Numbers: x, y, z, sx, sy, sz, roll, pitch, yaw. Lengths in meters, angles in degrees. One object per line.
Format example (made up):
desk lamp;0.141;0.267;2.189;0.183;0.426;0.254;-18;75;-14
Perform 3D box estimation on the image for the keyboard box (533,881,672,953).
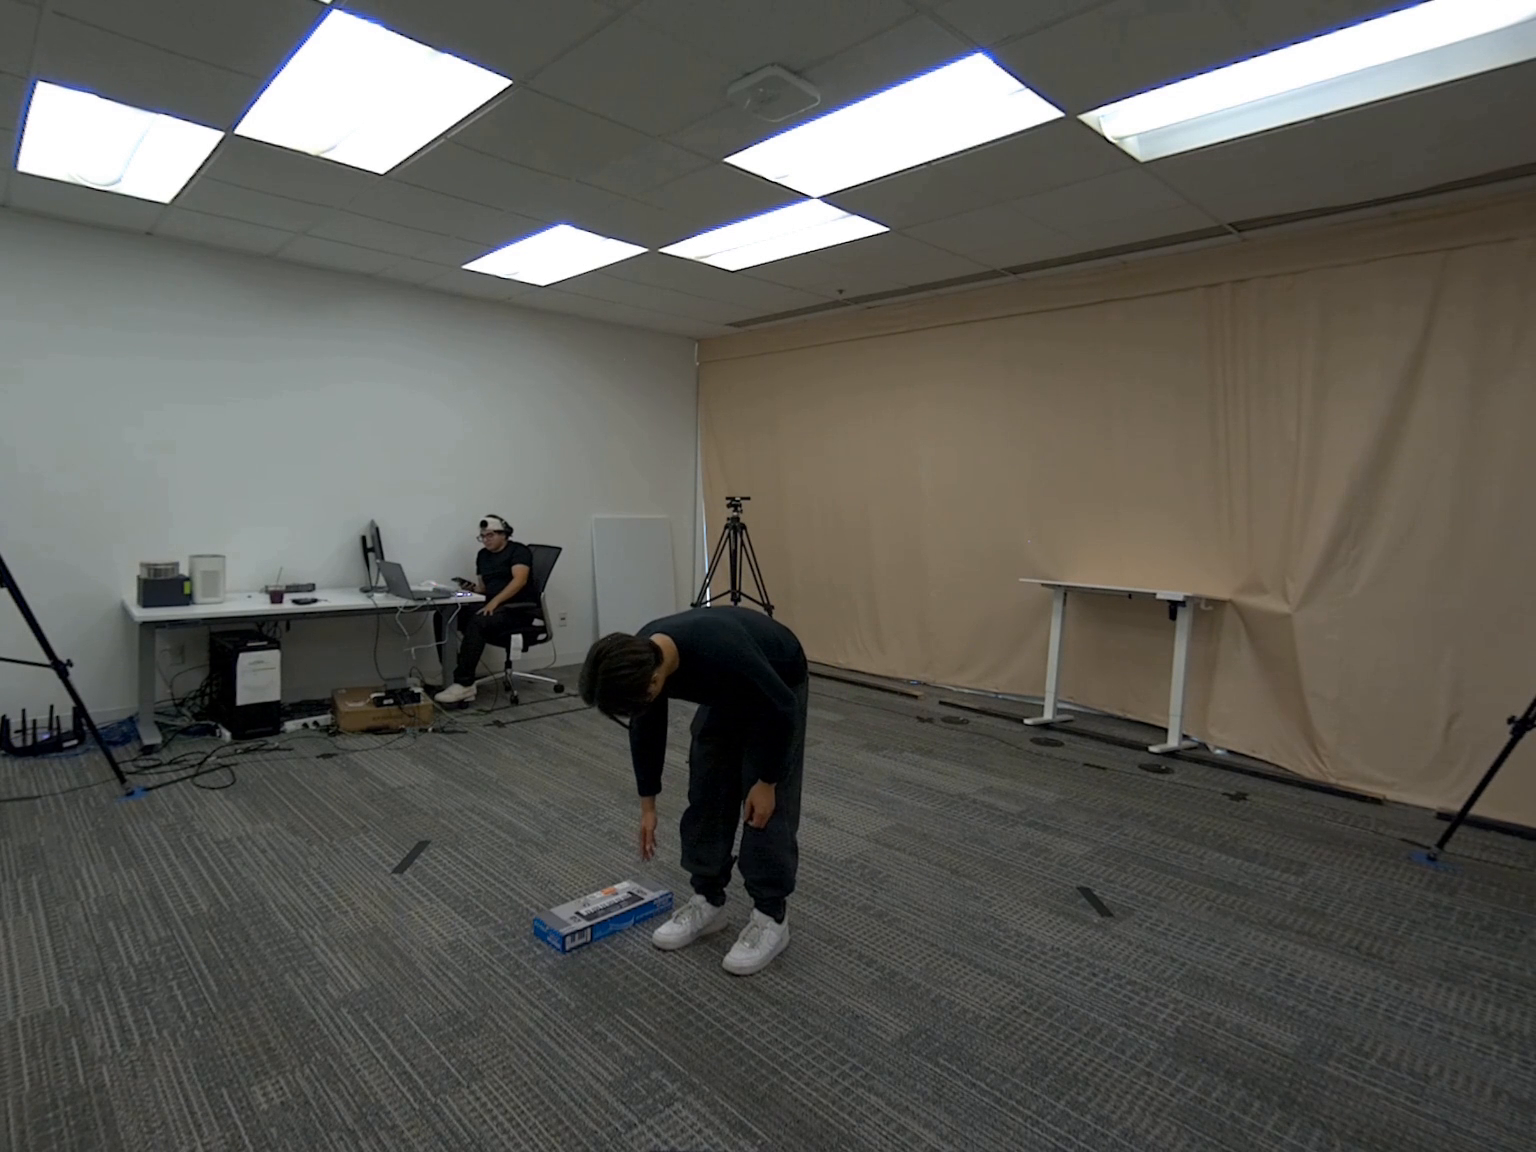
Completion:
keyboard box;-0.539;1.099;2.759;0.180;0.059;0.427;5;7;45
